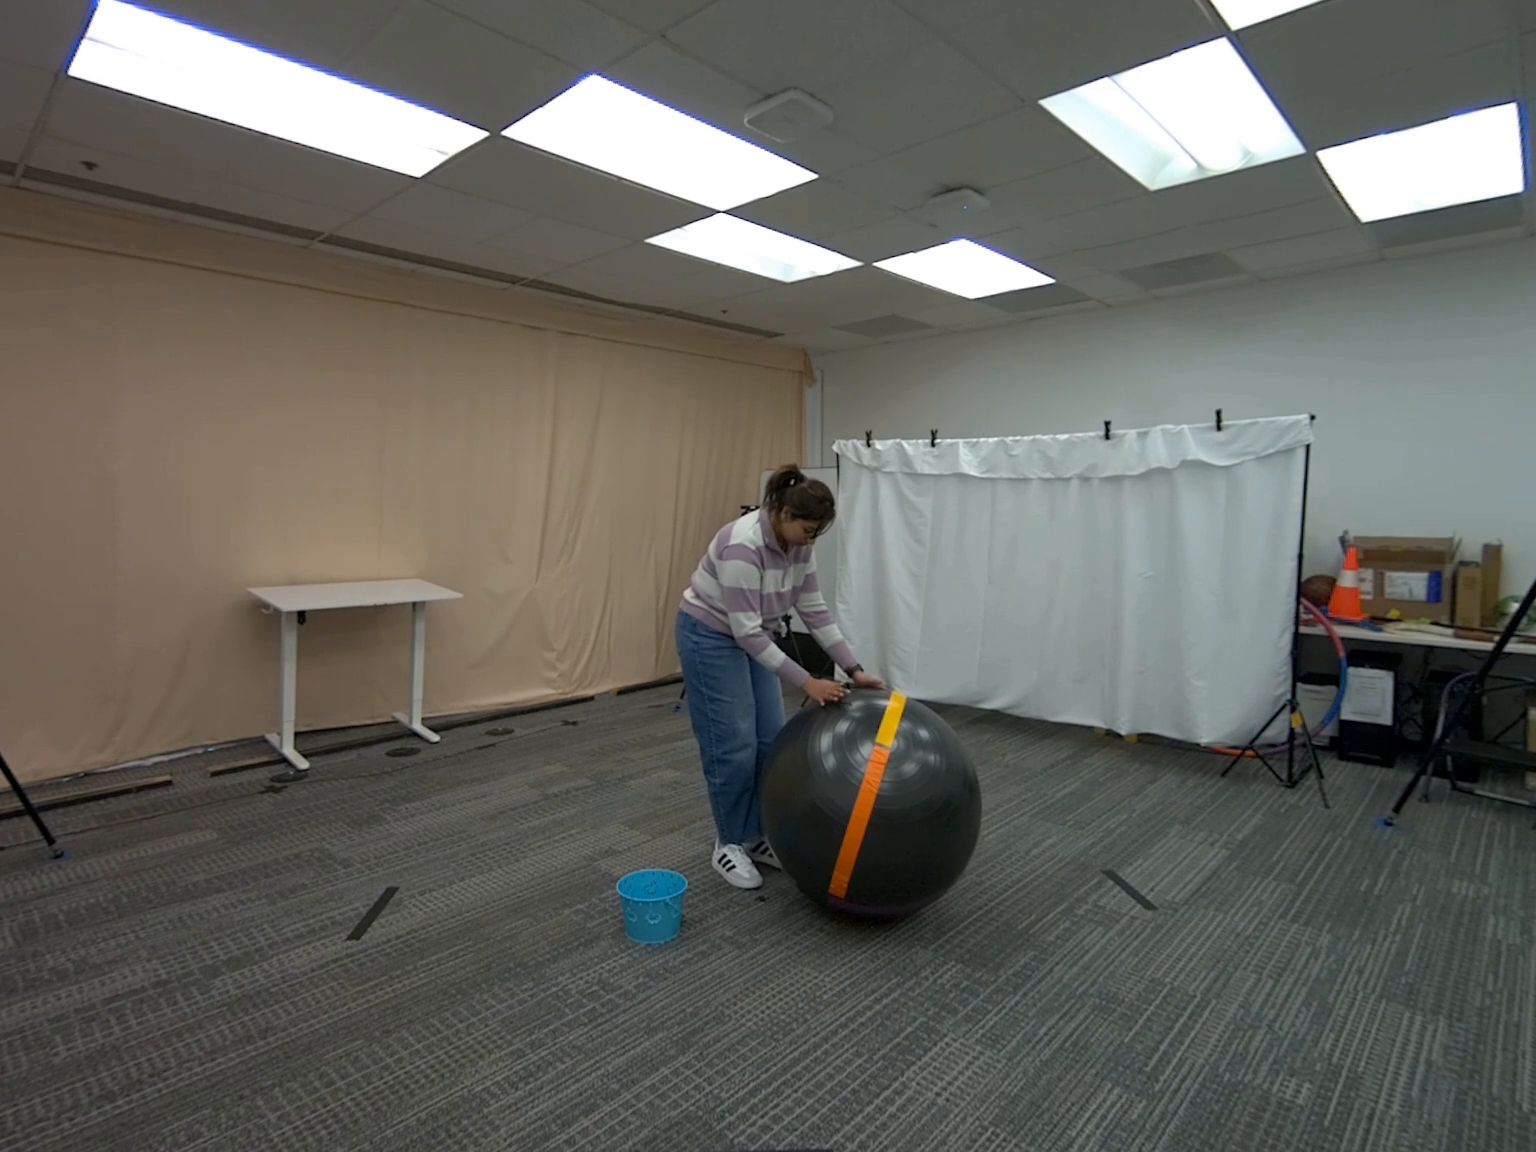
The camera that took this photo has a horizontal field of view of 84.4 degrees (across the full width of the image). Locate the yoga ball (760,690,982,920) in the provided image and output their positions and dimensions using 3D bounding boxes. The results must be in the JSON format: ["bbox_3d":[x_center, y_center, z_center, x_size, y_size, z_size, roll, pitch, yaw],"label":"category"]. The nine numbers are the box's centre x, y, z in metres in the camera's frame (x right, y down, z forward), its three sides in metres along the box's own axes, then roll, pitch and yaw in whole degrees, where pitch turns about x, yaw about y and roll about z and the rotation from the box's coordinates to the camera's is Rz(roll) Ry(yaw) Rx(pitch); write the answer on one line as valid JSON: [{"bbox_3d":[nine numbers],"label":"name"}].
[{"bbox_3d":[0.366,0.786,2.903,0.757,0.756,0.760,0,4,-2],"label":"yoga ball"}]
